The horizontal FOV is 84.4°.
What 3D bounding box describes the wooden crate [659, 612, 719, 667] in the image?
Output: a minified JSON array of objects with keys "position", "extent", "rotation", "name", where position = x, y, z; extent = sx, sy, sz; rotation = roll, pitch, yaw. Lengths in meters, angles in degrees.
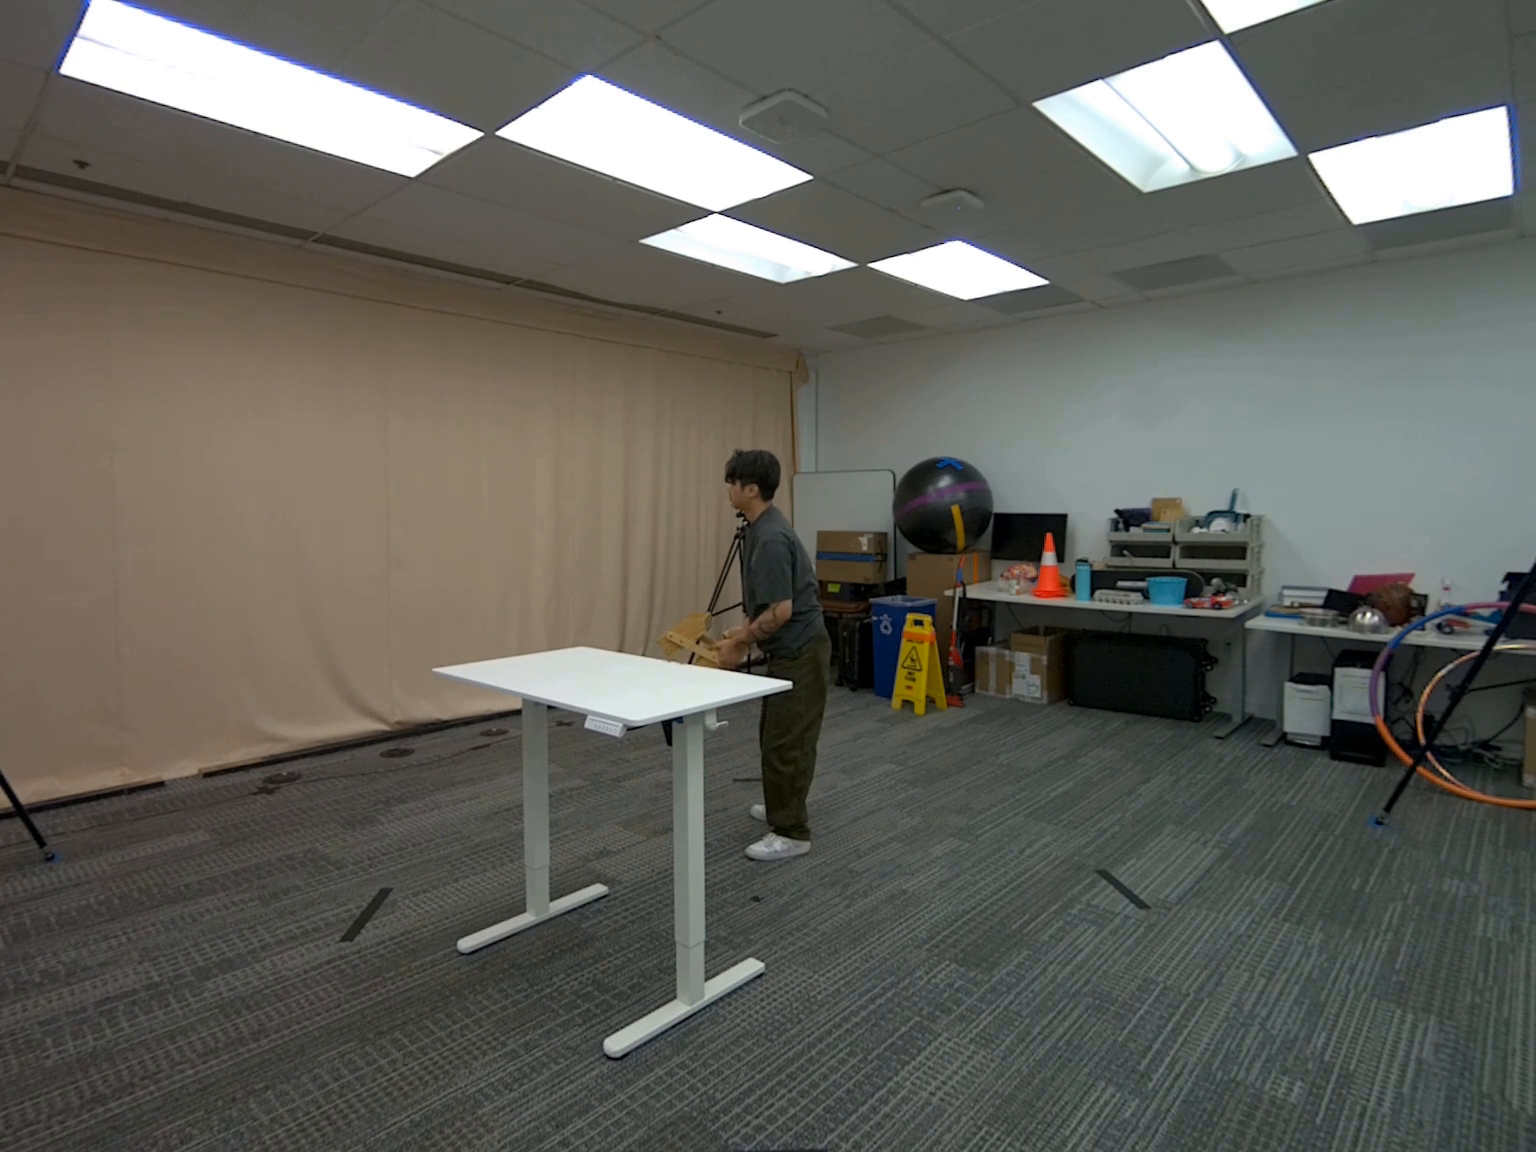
[{"position":[-0.249,0.272,3.537],"extent":[0.302,0.274,0.323],"rotation":[-37,-1,3],"name":"wooden crate"}]
